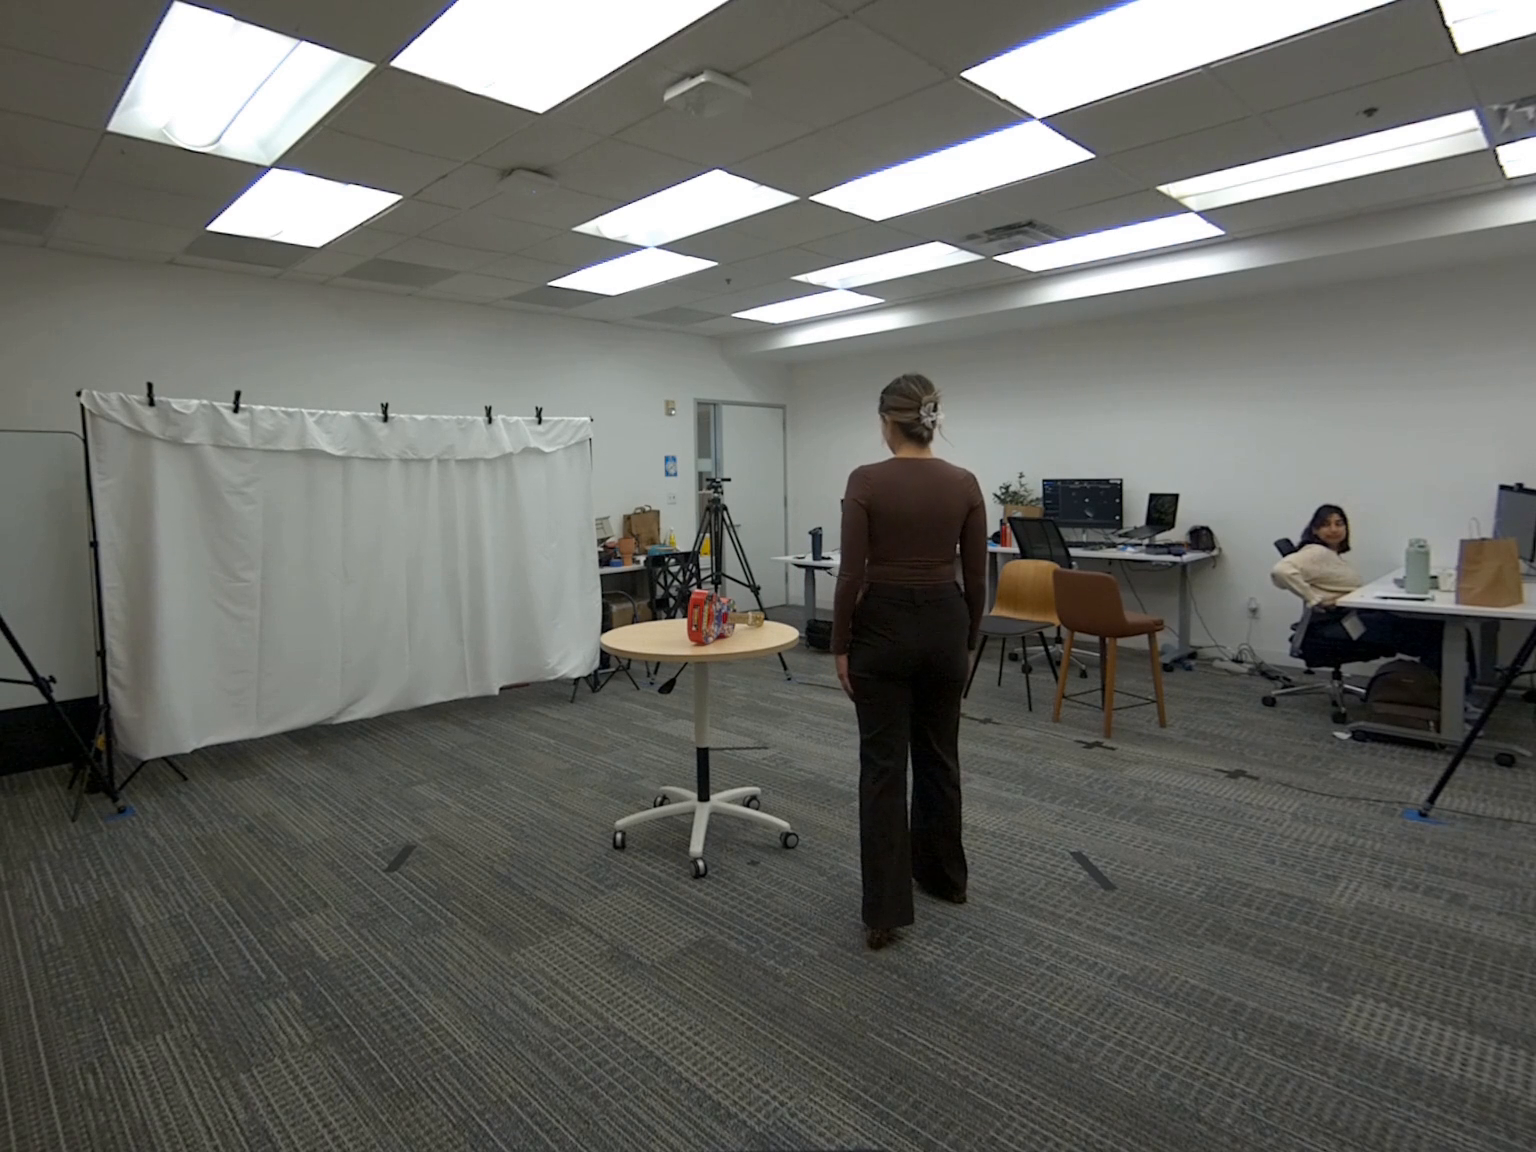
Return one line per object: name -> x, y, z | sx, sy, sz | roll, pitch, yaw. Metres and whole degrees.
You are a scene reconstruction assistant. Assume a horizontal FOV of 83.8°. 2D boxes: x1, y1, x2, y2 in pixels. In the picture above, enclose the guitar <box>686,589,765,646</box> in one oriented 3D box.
guitar -> -0.156, 0.187, 3.265 | 0.072, 0.195, 0.481 | -1, -13, 26
